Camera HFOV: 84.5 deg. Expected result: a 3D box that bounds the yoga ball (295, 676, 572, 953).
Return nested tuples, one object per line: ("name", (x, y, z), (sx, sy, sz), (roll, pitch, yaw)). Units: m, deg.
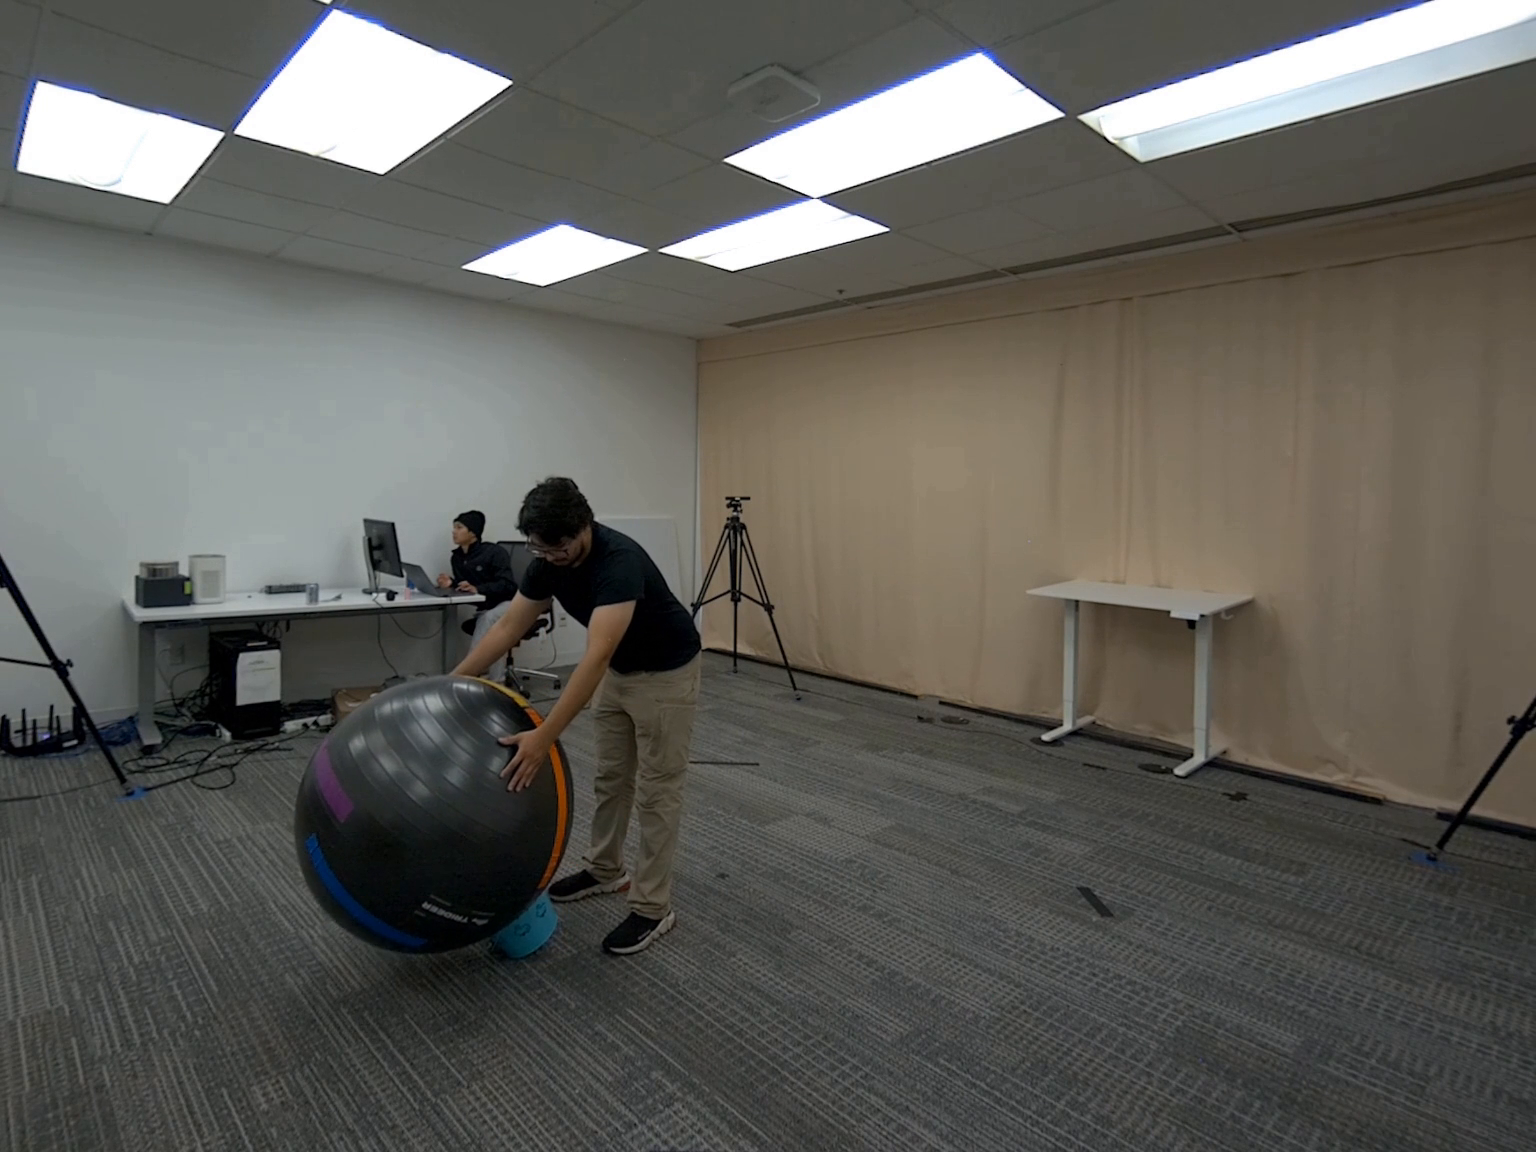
("yoga ball", (-0.962, 0.681, 2.417), (0.757, 0.756, 0.761), (1, 4, -1))
